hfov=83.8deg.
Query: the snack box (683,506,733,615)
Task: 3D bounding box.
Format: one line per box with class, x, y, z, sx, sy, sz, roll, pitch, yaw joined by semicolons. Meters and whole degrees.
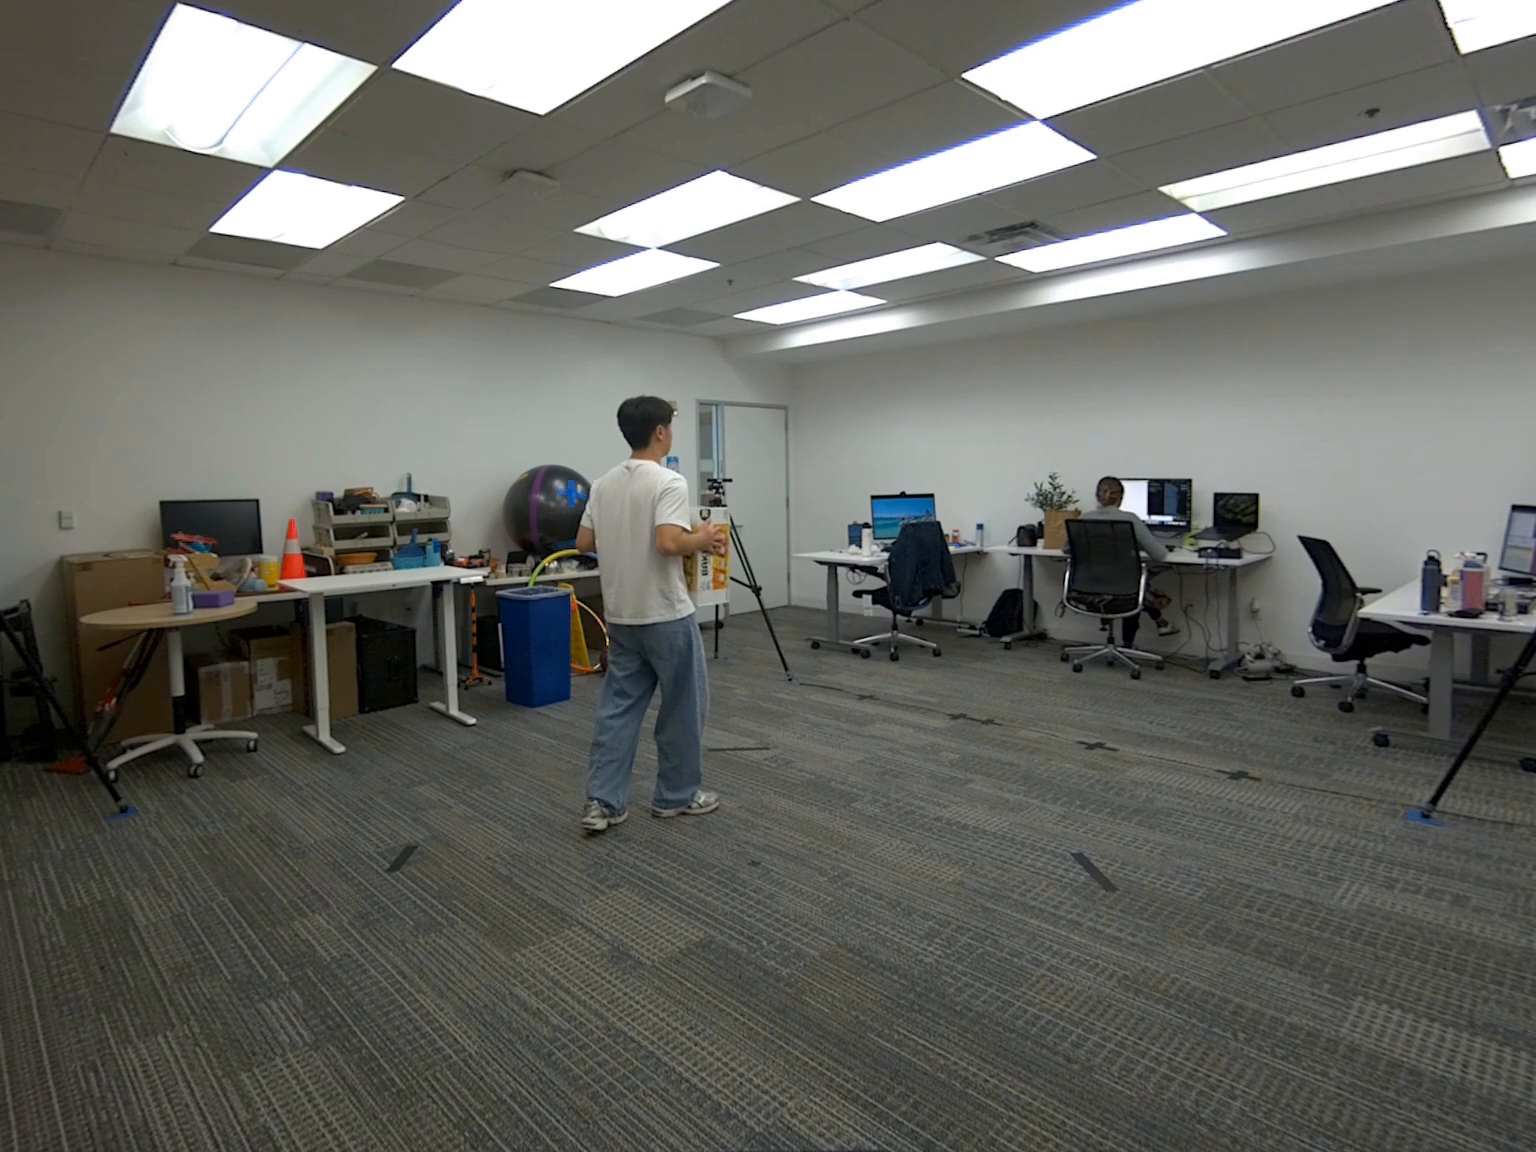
snack box;-0.350;-0.103;3.678;0.351;0.403;0.200;6;7;41
